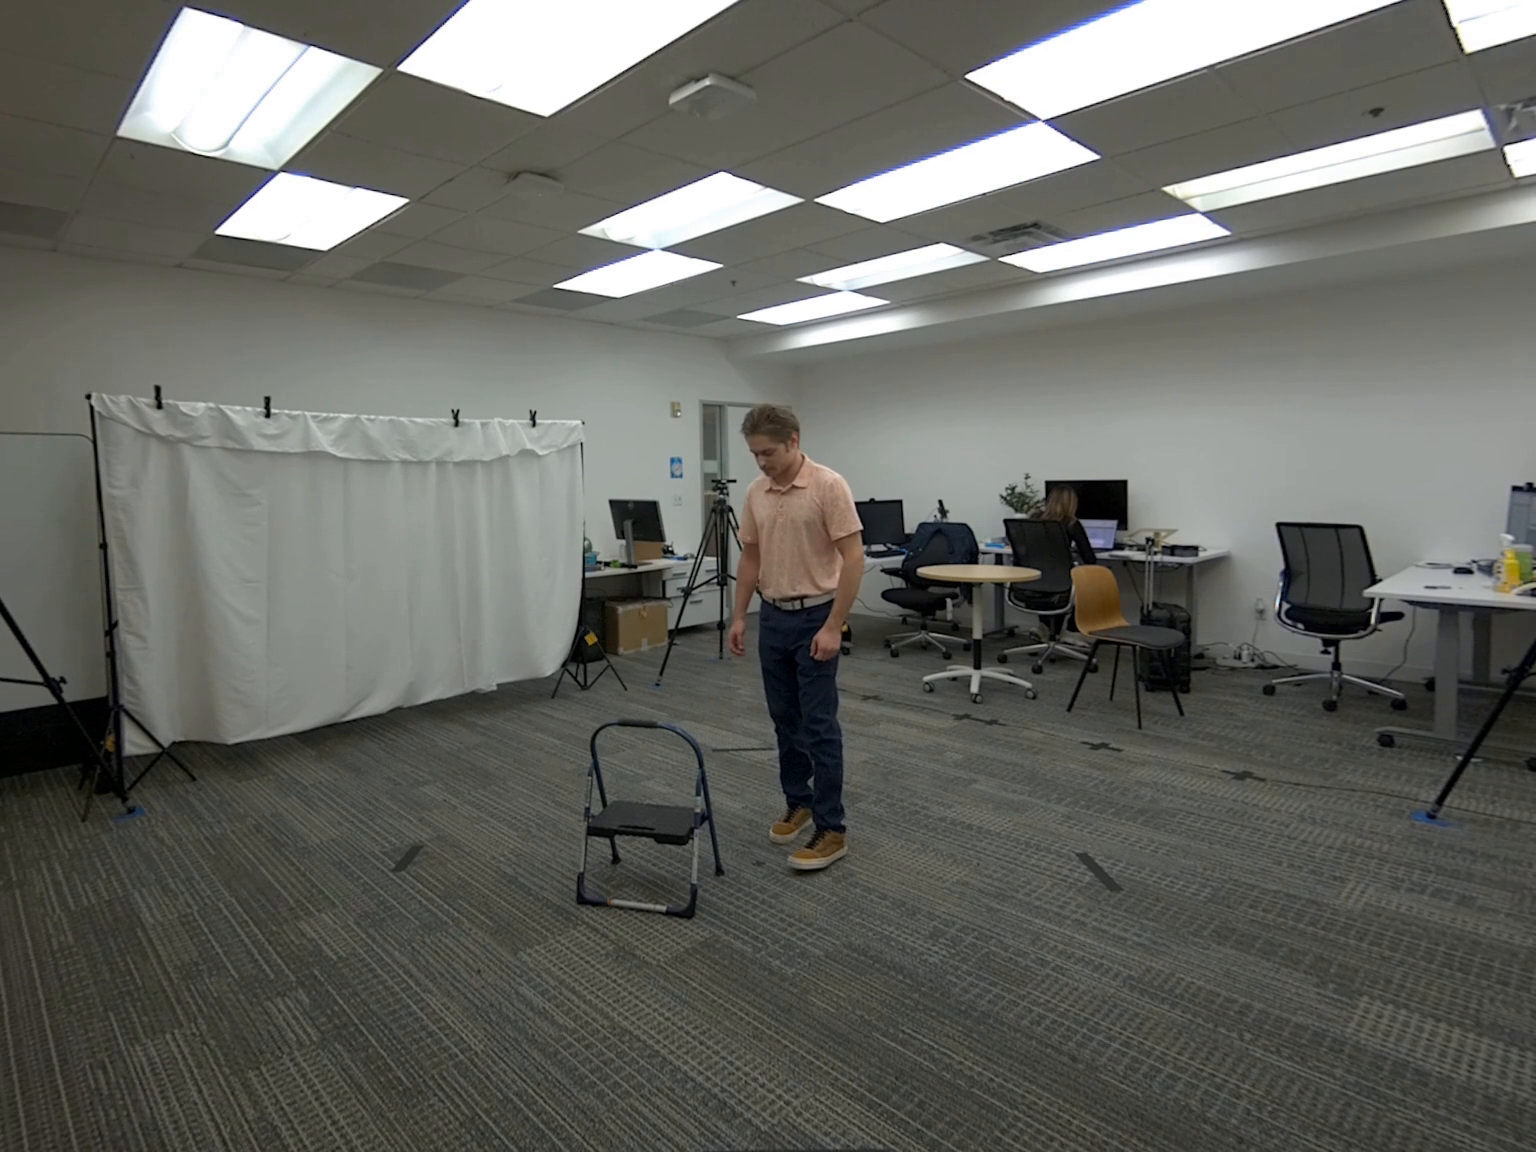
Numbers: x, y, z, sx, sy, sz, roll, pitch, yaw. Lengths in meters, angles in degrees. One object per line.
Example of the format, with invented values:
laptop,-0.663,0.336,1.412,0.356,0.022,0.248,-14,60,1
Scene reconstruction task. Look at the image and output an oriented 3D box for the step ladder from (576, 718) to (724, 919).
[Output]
step ladder,-0.405,0.772,2.922,0.437,0.604,0.345,0,4,15
